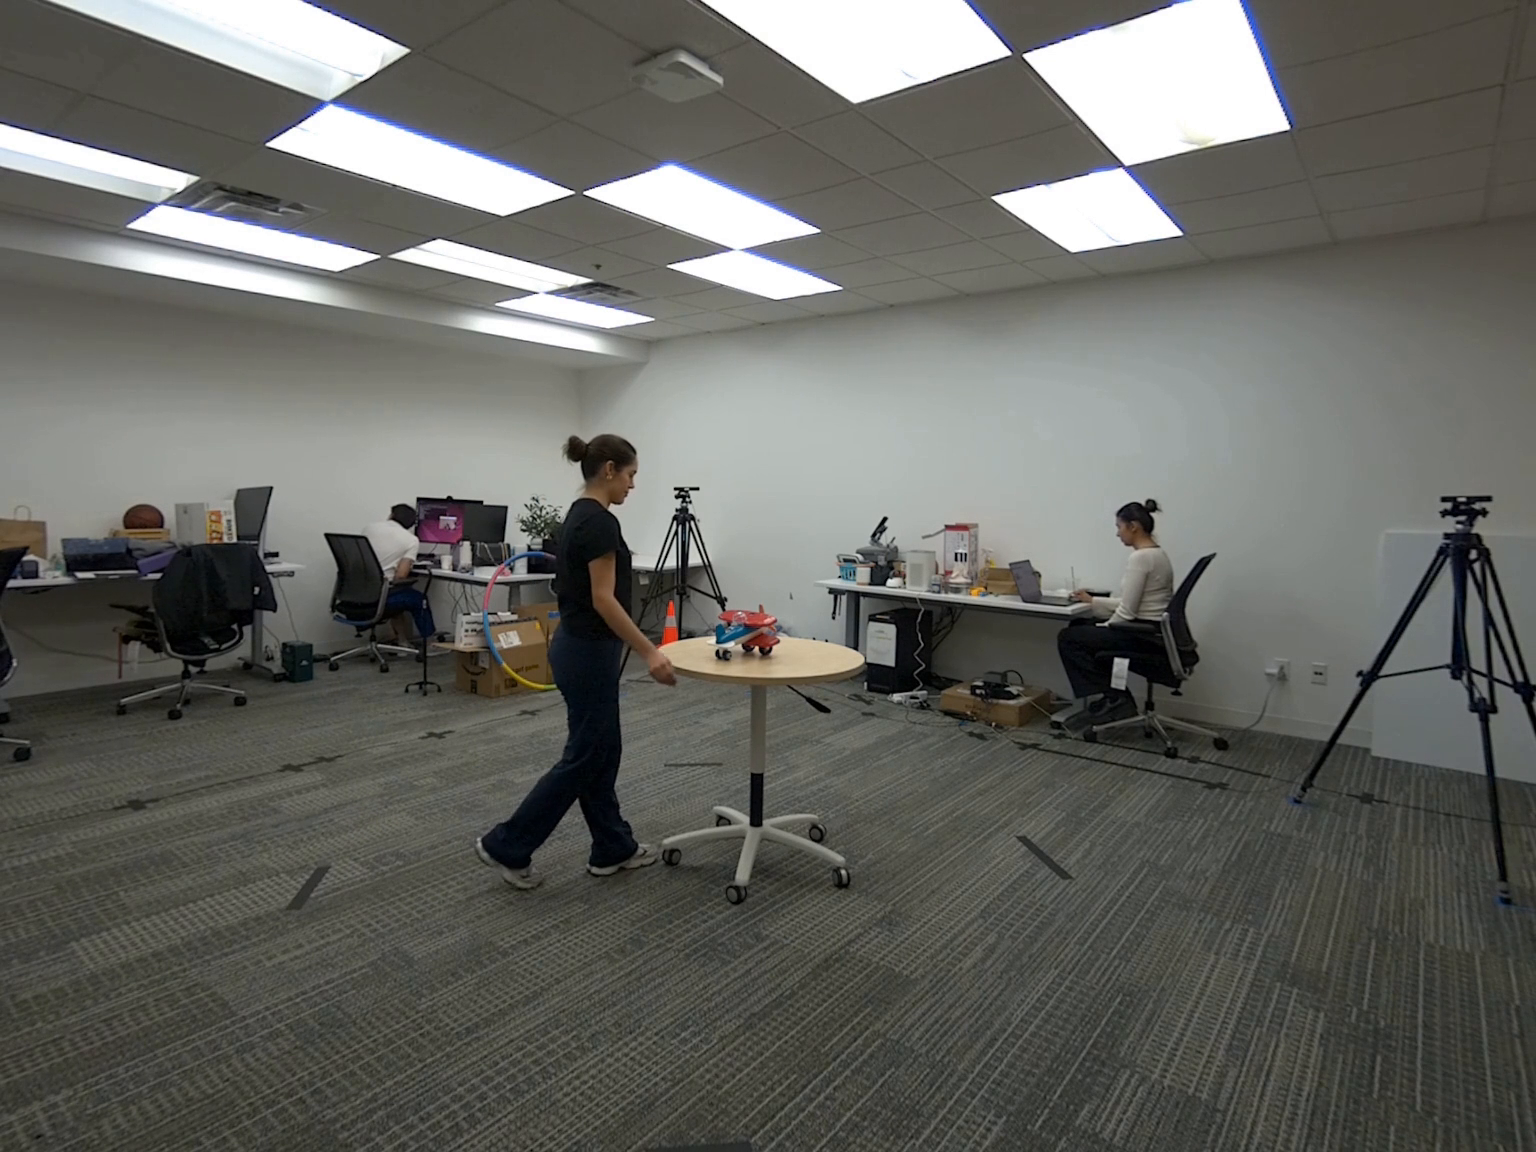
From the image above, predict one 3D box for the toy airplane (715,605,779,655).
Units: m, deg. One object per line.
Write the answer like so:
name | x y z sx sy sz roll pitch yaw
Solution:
toy airplane | -0.071 0.214 3.084 0.256 0.156 0.255 2 4 17
